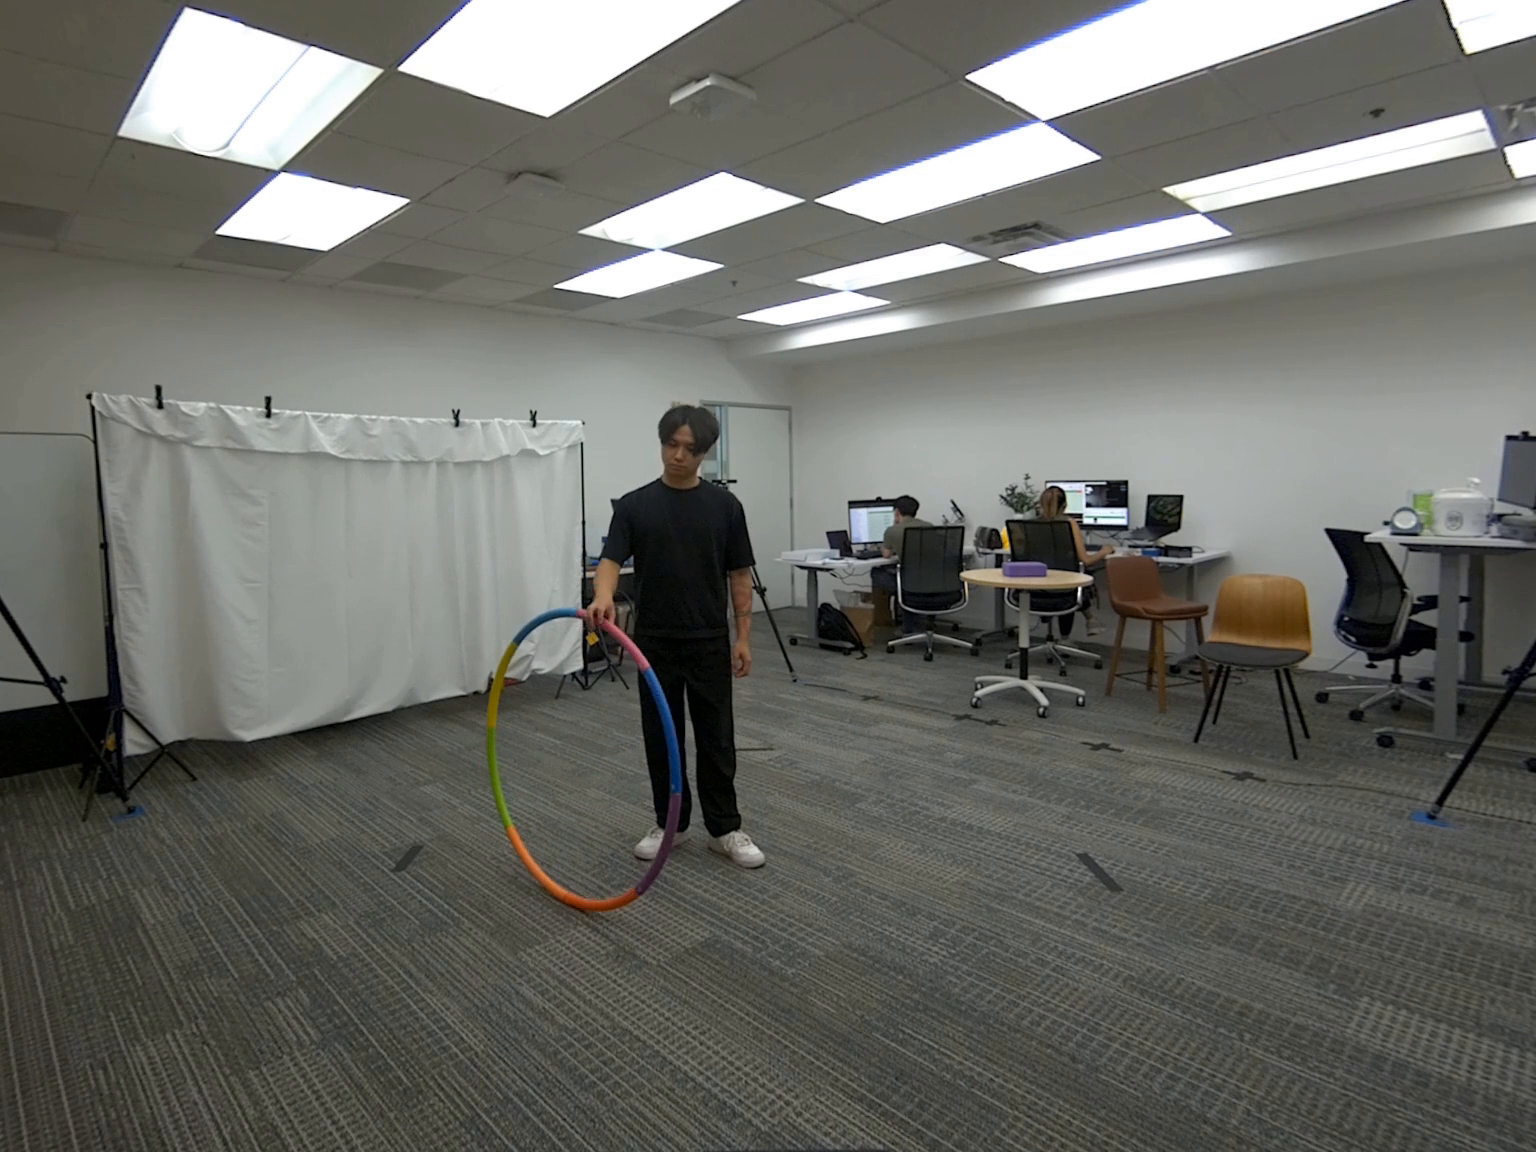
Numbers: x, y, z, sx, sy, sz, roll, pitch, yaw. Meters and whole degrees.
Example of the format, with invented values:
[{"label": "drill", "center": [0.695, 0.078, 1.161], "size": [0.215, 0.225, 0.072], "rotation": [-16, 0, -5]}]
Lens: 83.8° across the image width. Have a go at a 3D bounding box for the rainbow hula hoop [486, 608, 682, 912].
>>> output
[{"label": "rainbow hula hoop", "center": [-0.645, 0.599, 2.847], "size": [1.008, 0.978, 0.034], "rotation": [3, 1, 41]}]
